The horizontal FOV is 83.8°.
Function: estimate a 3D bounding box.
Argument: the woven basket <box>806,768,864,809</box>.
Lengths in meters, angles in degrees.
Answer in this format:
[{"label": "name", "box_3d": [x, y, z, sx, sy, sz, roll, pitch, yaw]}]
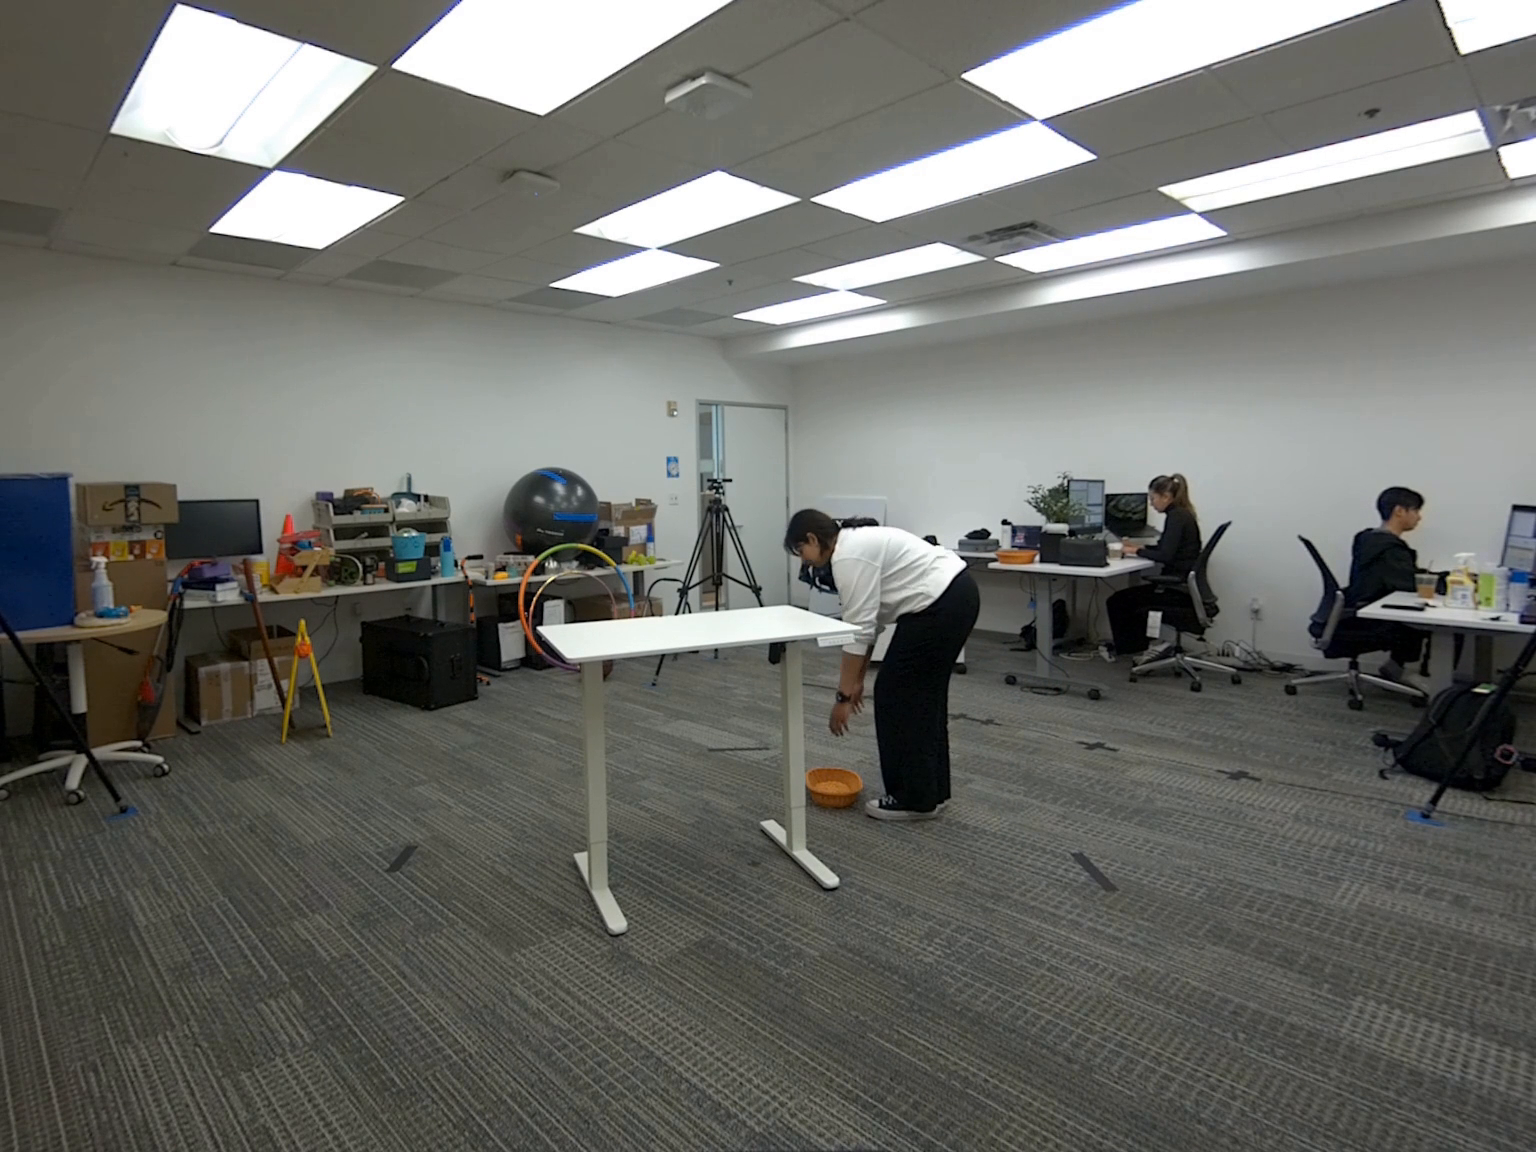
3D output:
[{"label": "woven basket", "box_3d": [0.287, 0.928, 3.767, 0.254, 0.073, 0.350, 1, 5, 4]}]
